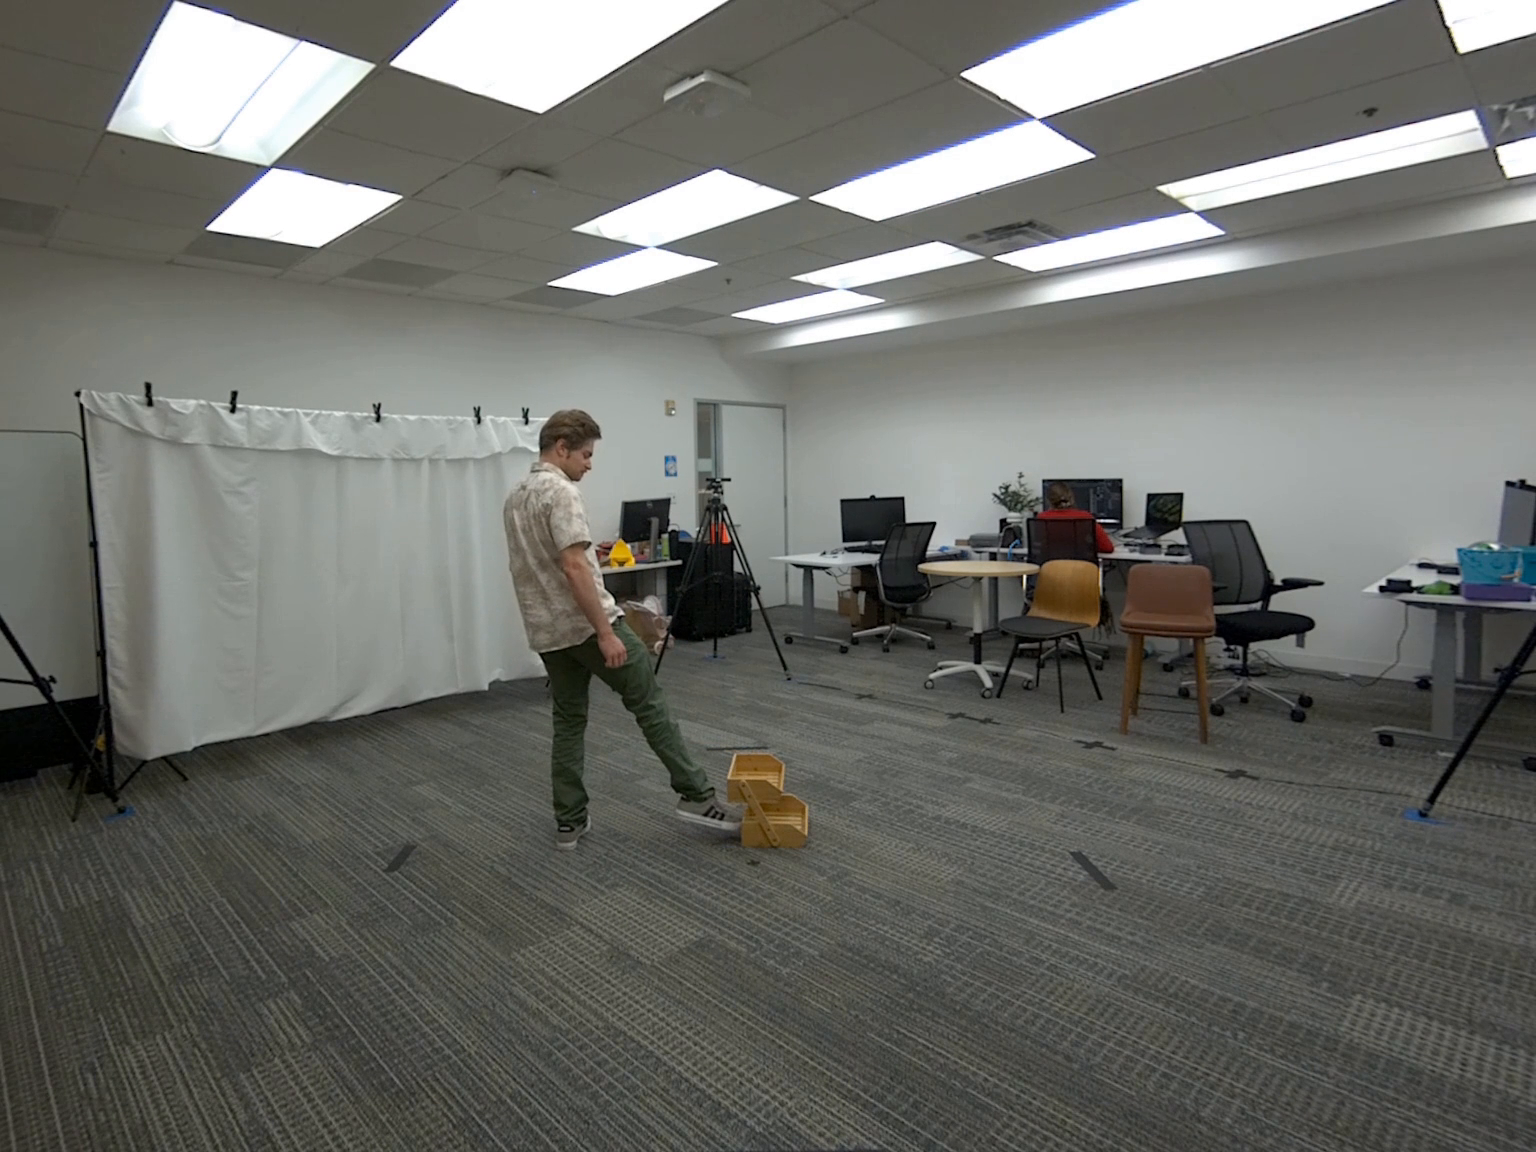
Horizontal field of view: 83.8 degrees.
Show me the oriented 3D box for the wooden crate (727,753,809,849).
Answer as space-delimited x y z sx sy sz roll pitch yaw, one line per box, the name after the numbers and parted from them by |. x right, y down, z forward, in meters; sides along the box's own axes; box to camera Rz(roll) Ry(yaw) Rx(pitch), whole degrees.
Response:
0.003 0.872 3.381 0.303 0.272 0.324 -1 5 4 | wooden crate
